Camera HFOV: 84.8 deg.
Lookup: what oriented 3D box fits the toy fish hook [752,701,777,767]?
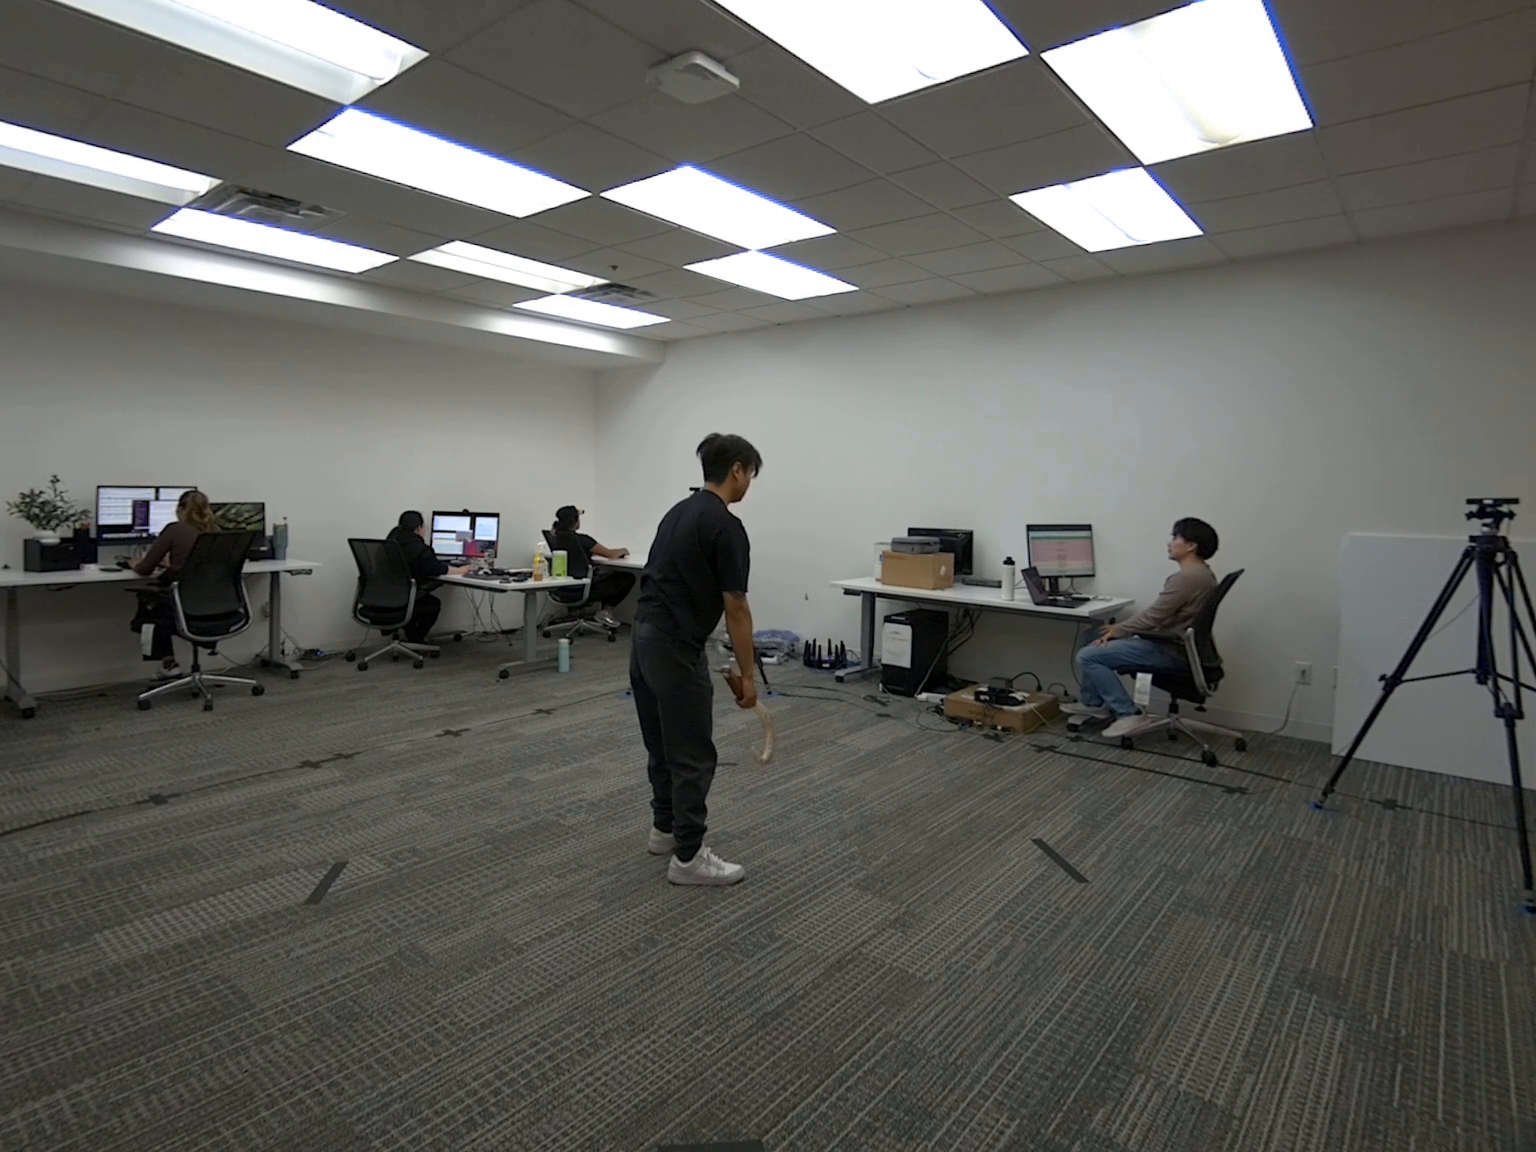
[{"bbox_3d":[-0.079,0.523,3.087,0.049,0.230,0.486,-14,-44,20],"label":"toy fish hook"}]
